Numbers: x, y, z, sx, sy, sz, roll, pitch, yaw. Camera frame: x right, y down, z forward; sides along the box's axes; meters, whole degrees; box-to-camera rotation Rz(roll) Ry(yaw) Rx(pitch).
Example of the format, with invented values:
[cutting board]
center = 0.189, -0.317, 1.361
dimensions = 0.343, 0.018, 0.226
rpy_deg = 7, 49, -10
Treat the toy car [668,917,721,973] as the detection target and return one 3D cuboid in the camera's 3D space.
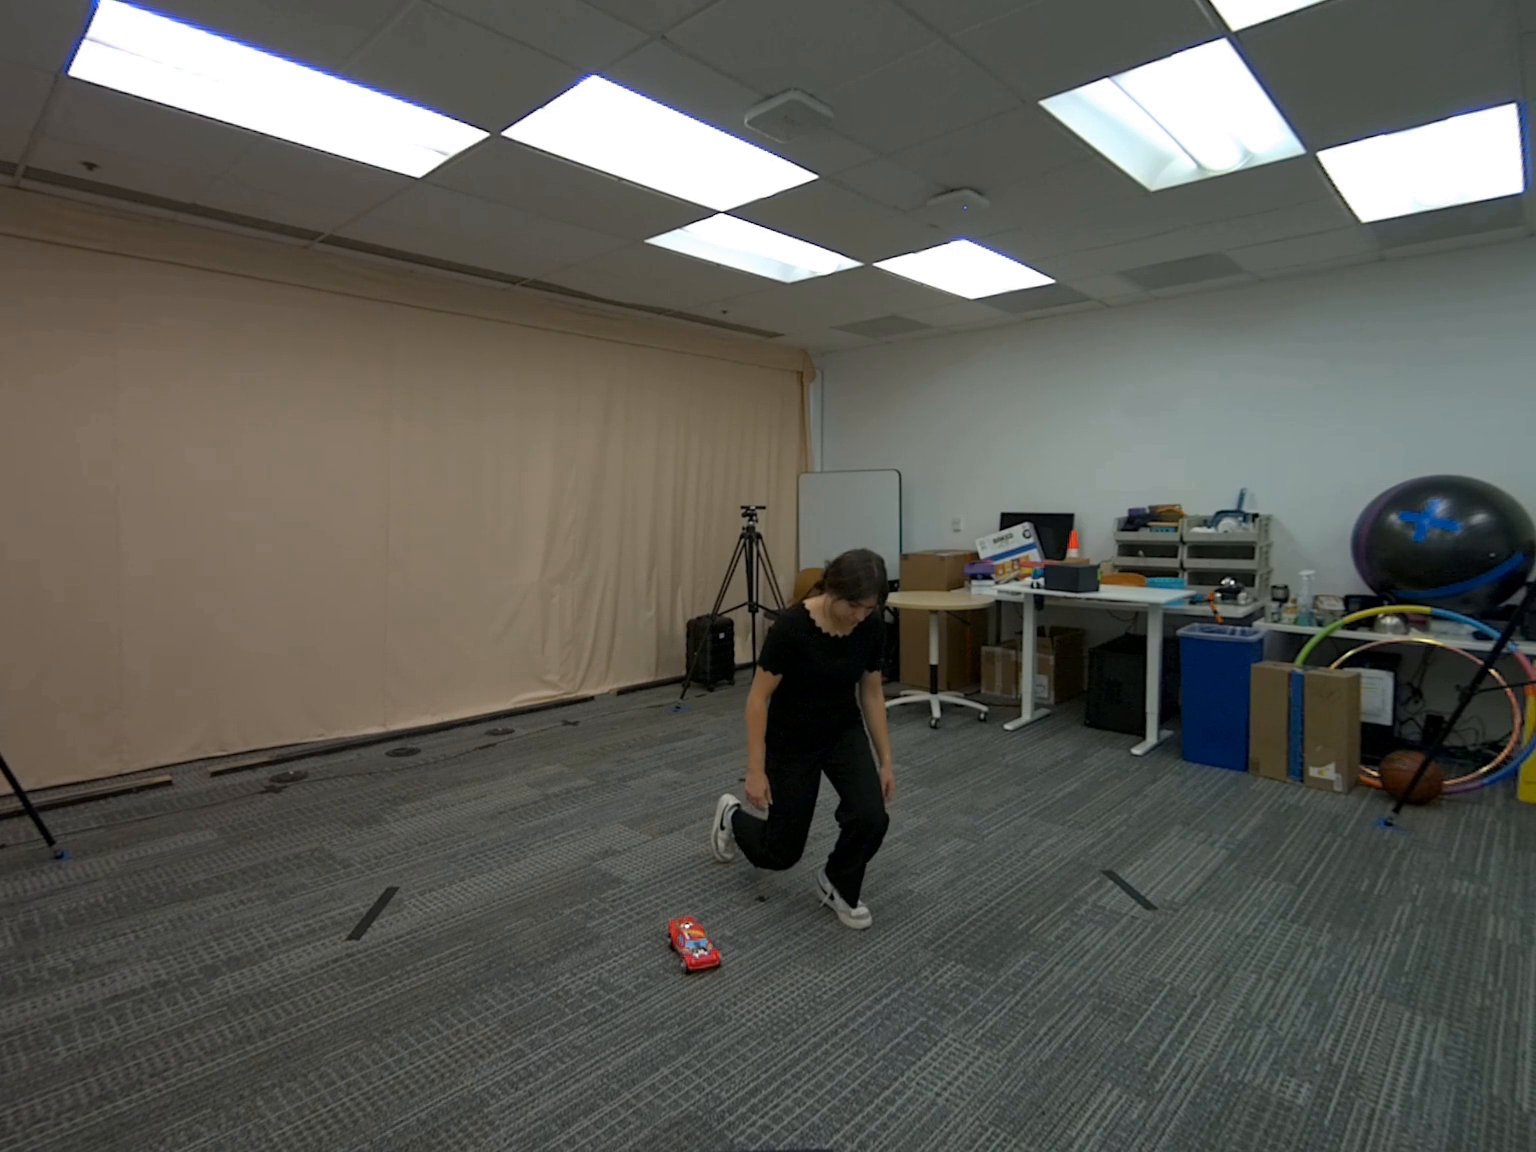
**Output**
[toy car]
center = -0.235, 1.144, 2.614
dimensions = 0.128, 0.082, 0.262
rpy_deg = -2, 15, -21
